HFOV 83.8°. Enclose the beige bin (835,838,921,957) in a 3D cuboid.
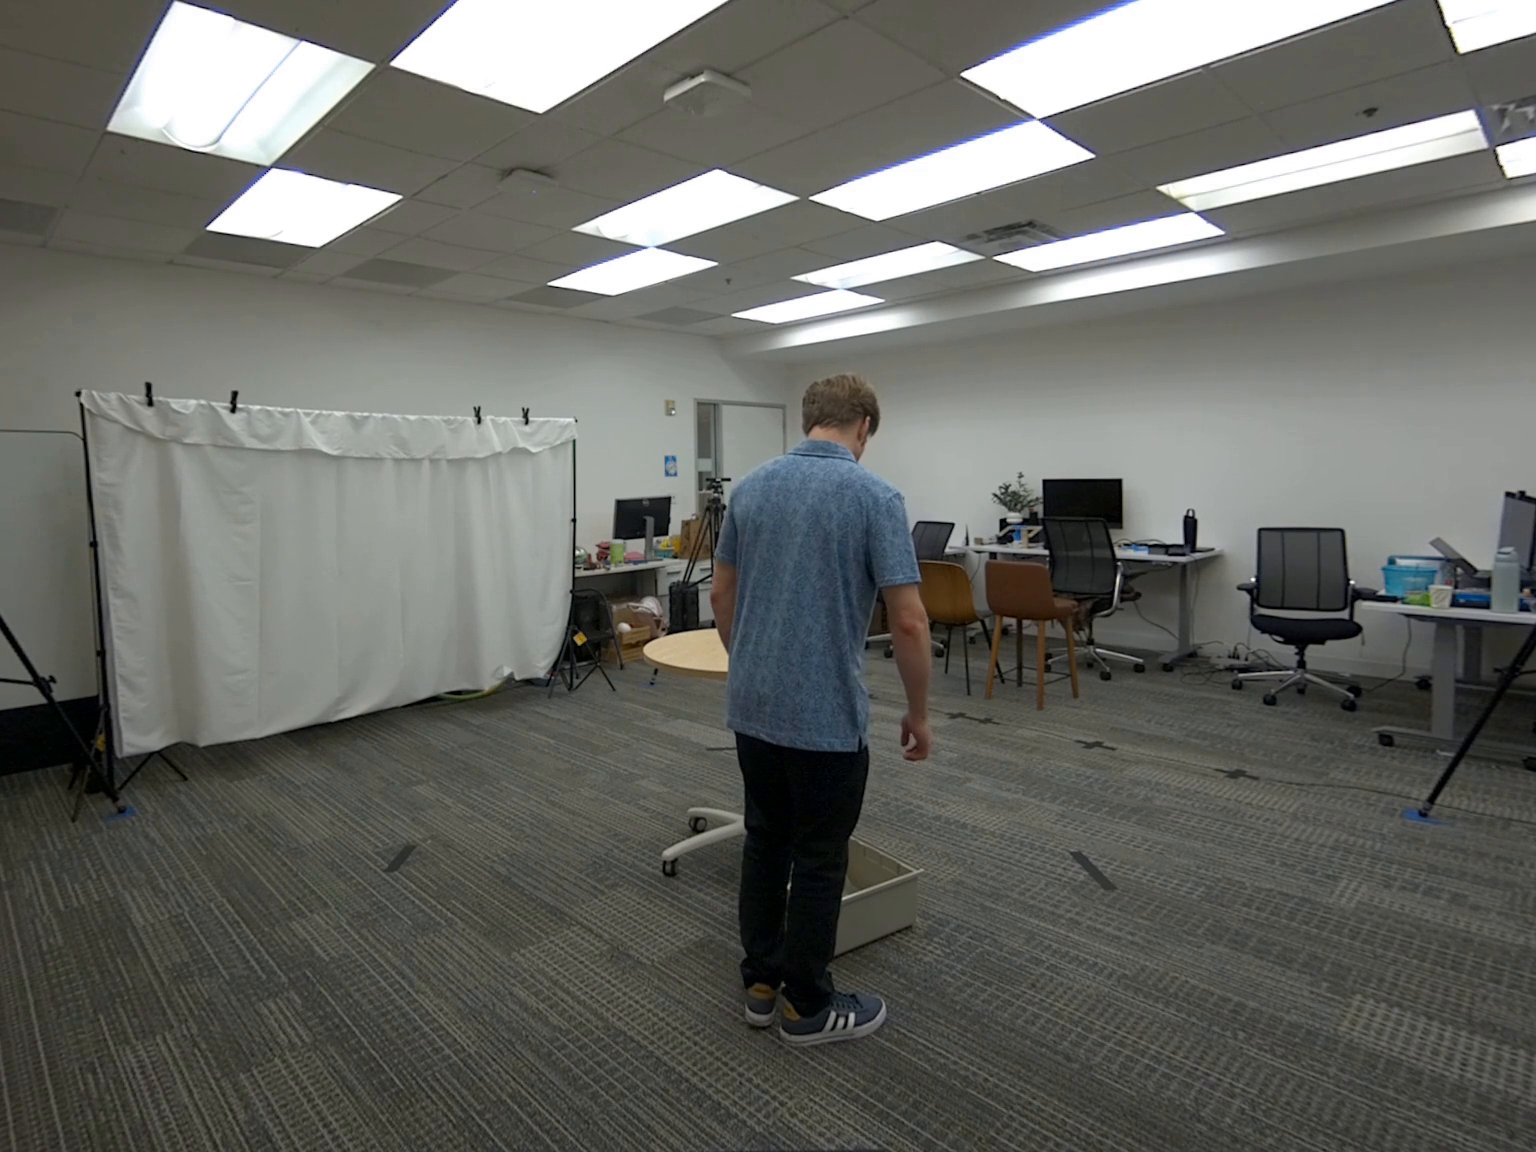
[{"bbox_3d":[0.211,1.000,2.684,0.412,0.188,0.389,-4,8,-35],"label":"beige bin"}]
